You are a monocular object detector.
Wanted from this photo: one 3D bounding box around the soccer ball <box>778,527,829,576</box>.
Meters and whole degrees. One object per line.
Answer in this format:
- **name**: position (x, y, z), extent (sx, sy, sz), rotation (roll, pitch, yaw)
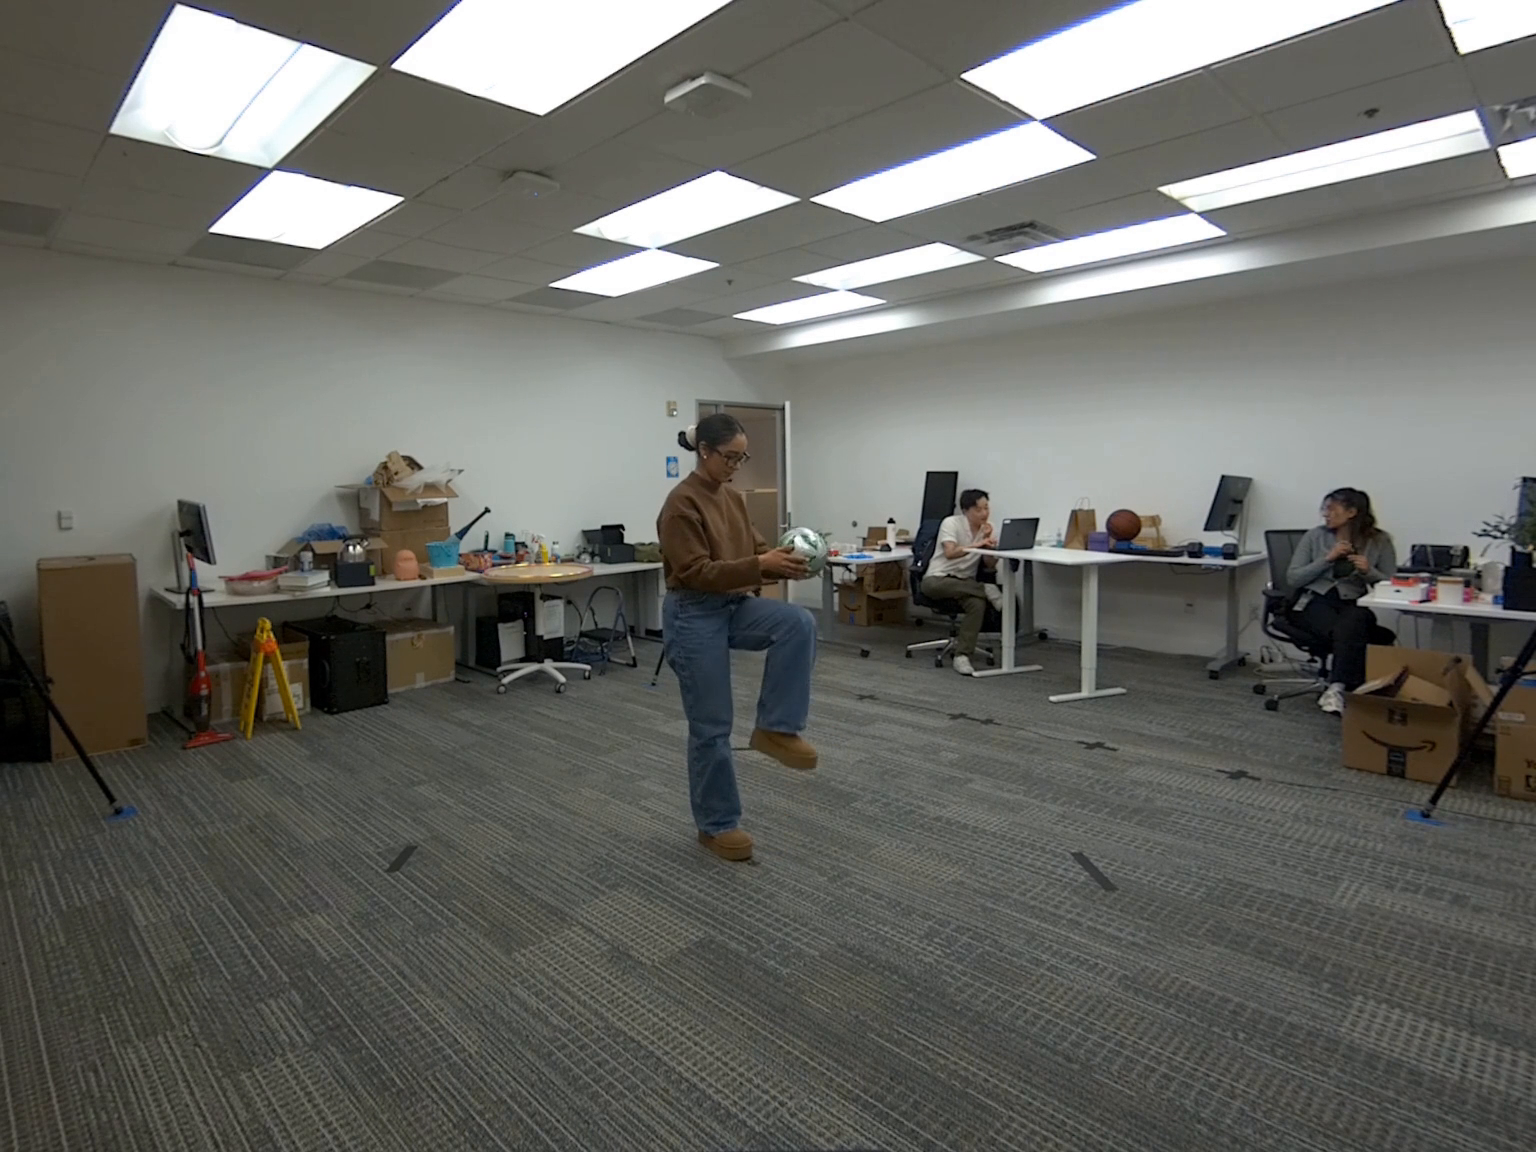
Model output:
- **soccer ball**: position (0.117, -0.081, 3.042), extent (0.187, 0.187, 0.188), rotation (-1, 5, -2)
